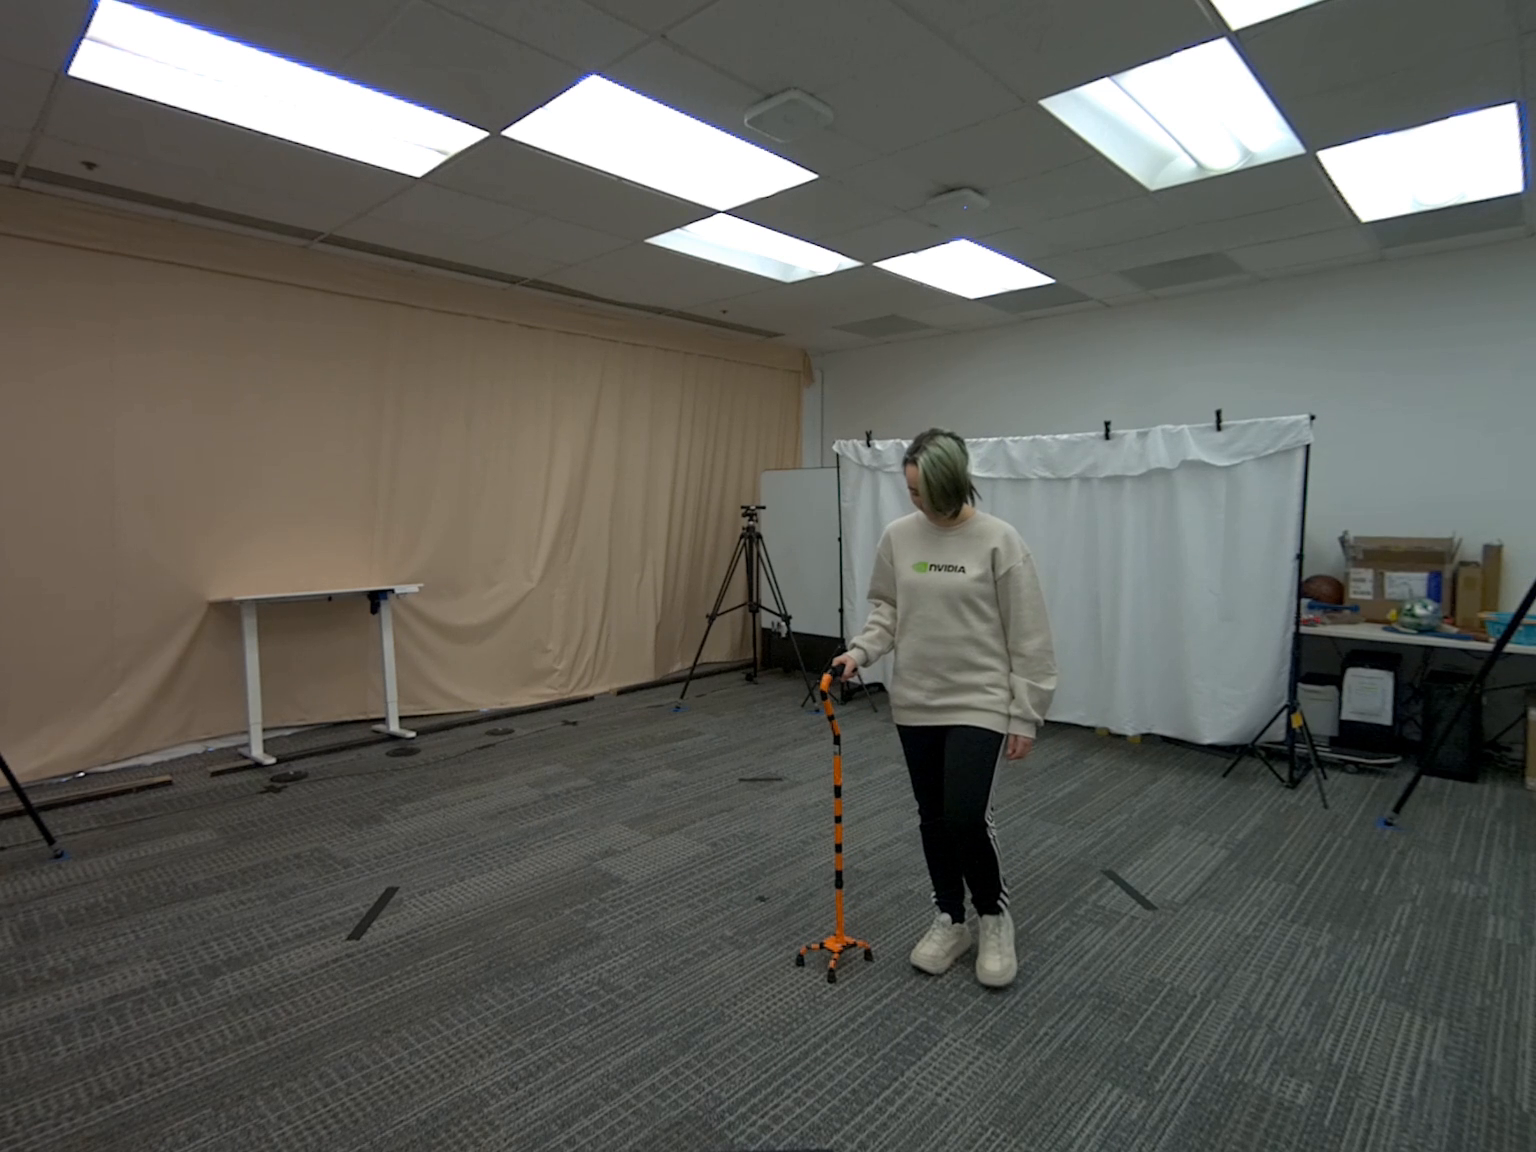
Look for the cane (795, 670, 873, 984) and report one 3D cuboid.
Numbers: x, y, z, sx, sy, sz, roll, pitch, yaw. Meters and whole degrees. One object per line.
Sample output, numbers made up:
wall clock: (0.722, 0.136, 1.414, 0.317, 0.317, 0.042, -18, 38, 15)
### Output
cane: (0.200, 0.729, 2.549, 0.156, 0.906, 0.200, 1, 3, 43)
